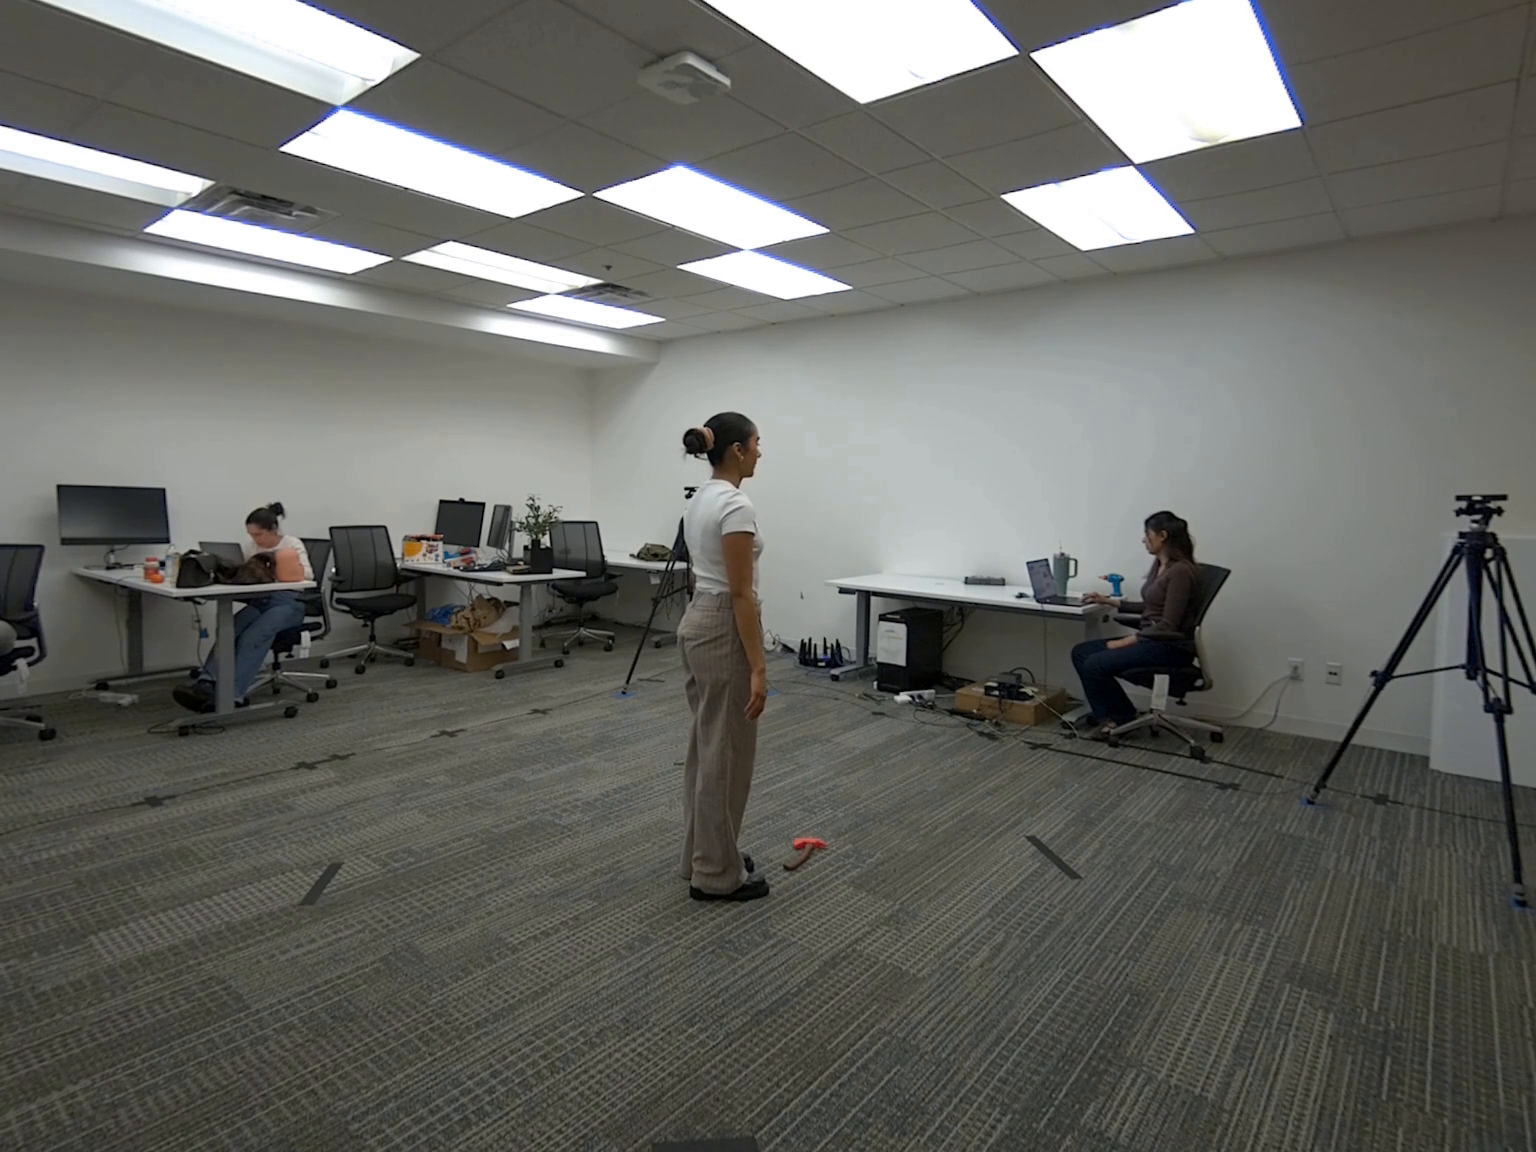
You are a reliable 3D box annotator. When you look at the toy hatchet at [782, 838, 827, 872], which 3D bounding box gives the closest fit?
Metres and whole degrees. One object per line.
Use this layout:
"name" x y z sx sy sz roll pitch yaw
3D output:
"toy hatchet" 0.105 1.048 3.233 0.135 0.029 0.263 7 9 33
